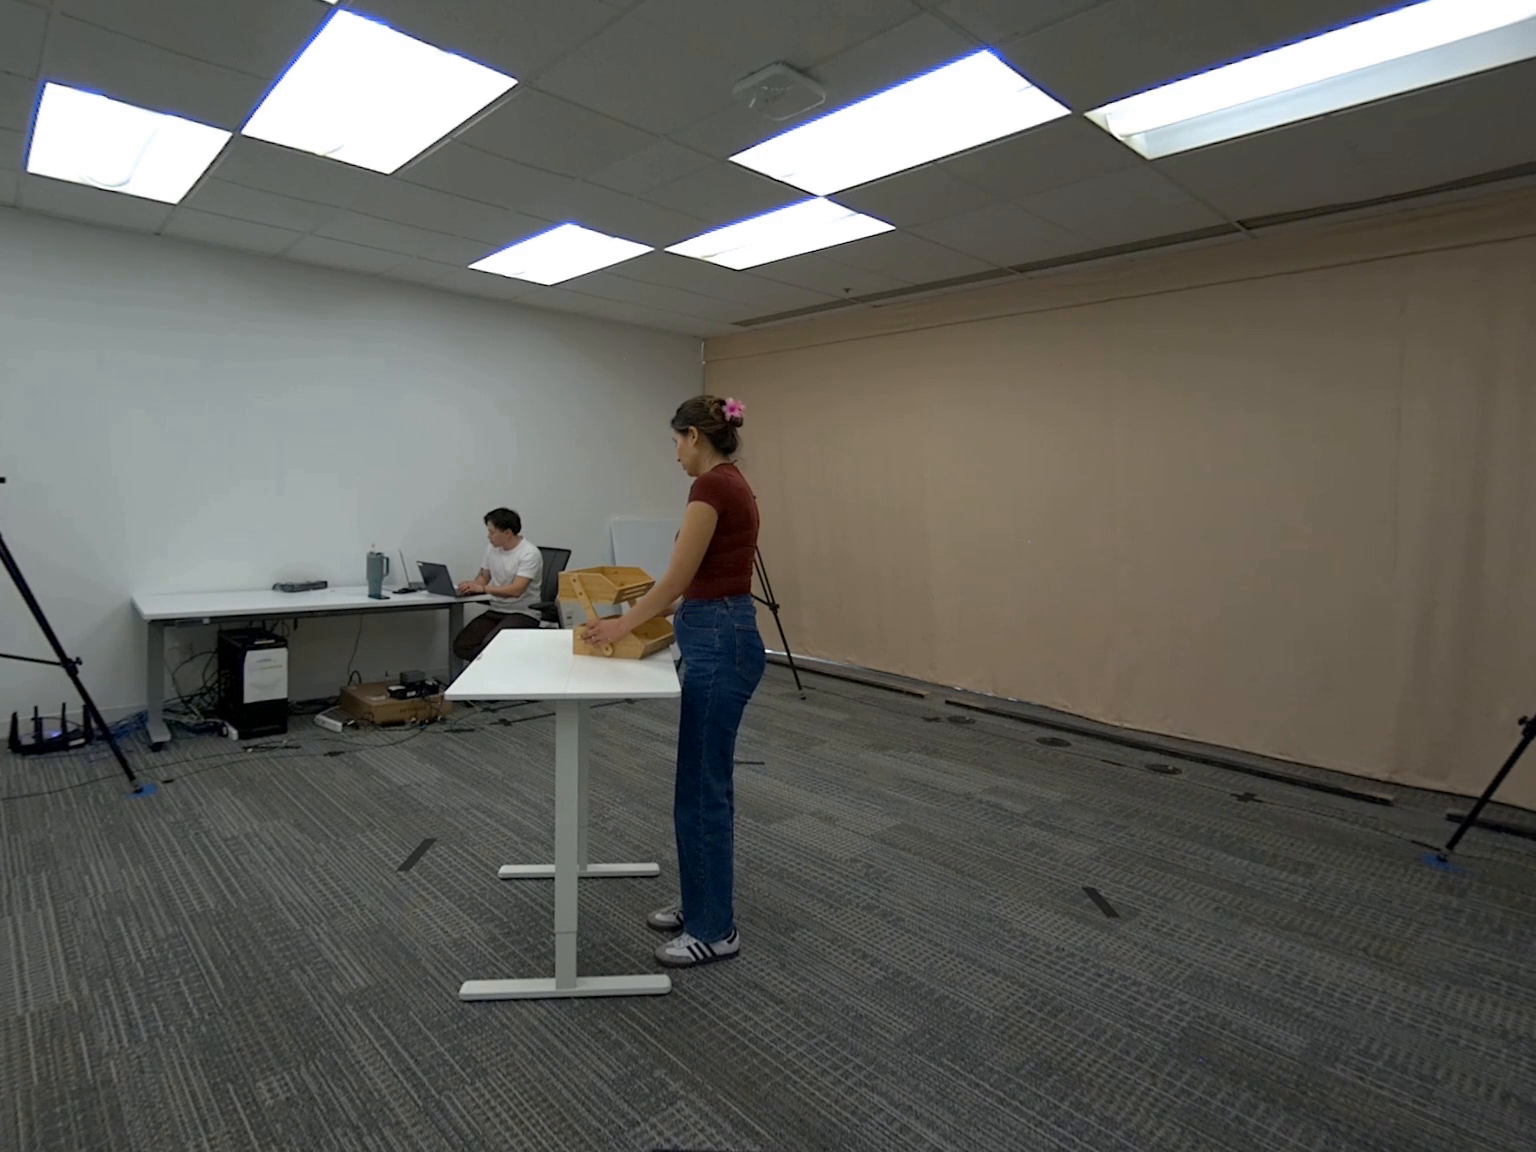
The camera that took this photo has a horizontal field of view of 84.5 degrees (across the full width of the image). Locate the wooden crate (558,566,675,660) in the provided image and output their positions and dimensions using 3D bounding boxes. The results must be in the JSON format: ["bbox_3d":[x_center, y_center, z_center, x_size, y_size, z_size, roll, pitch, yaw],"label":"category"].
[{"bbox_3d":[-0.480,0.113,2.777,0.306,0.272,0.321,4,5,15],"label":"wooden crate"}]
